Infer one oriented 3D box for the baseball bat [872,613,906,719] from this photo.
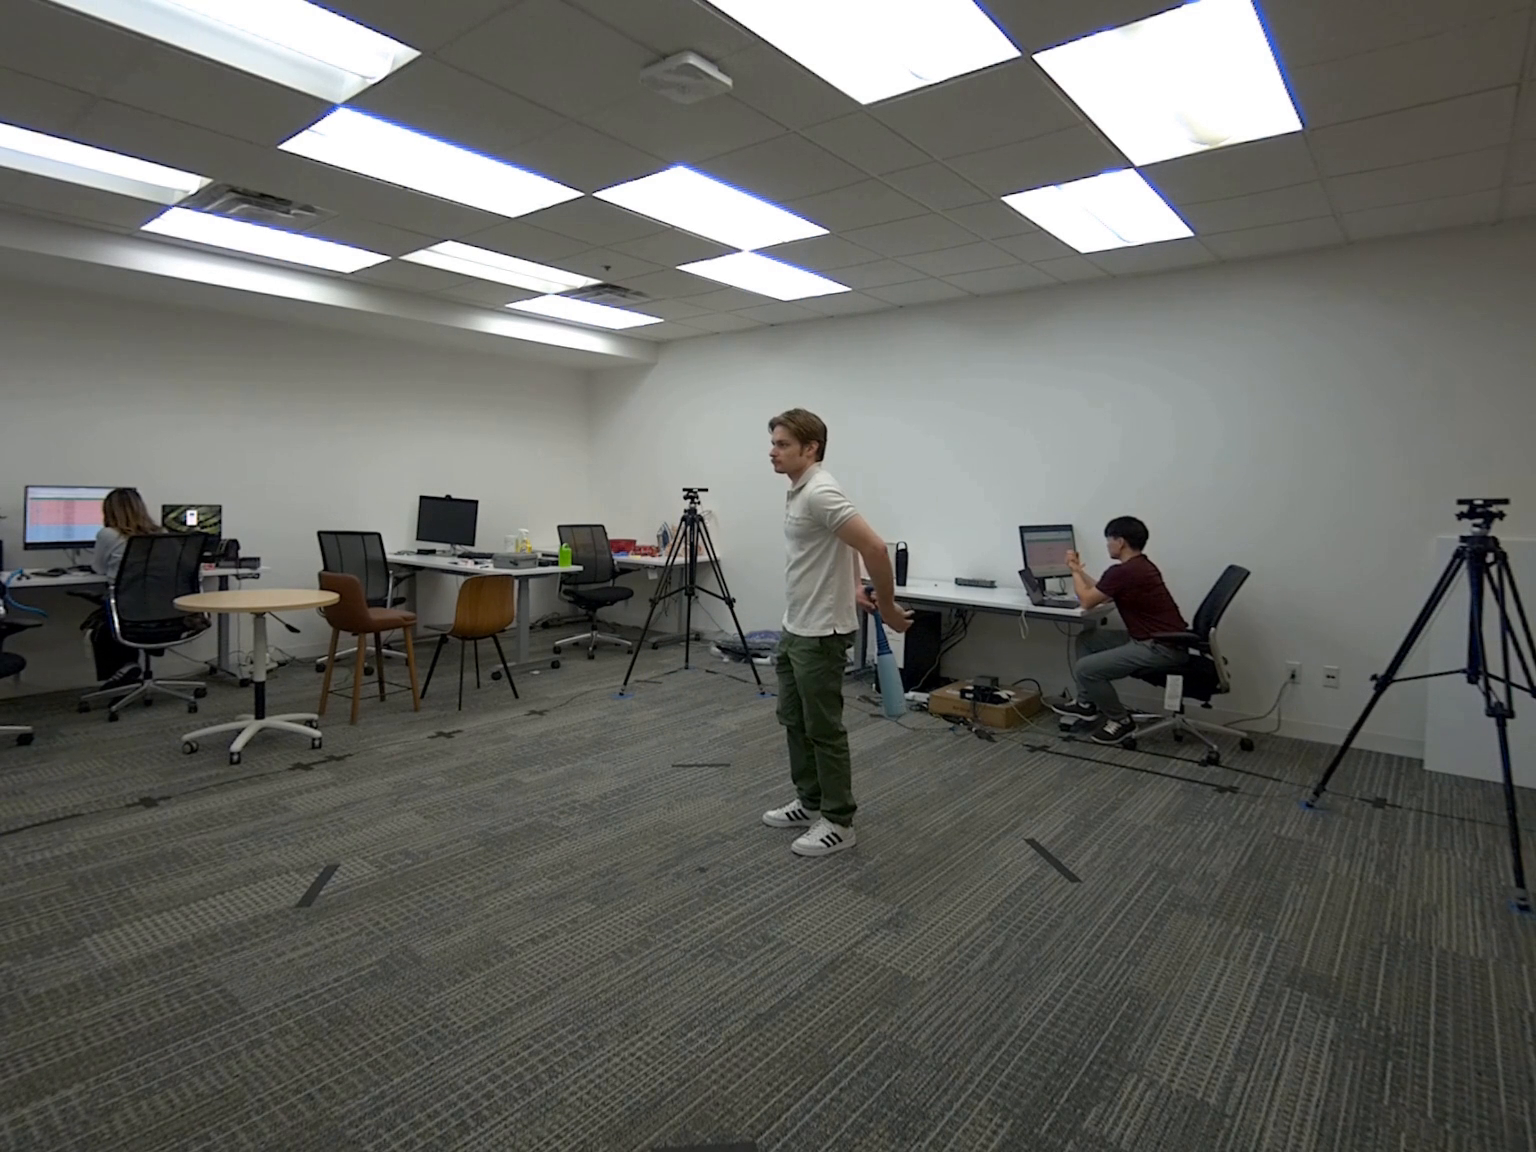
[{"bbox_3d":[0.464,0.308,3.487,0.089,0.548,0.088,-8,-8,-3],"label":"baseball bat"}]
